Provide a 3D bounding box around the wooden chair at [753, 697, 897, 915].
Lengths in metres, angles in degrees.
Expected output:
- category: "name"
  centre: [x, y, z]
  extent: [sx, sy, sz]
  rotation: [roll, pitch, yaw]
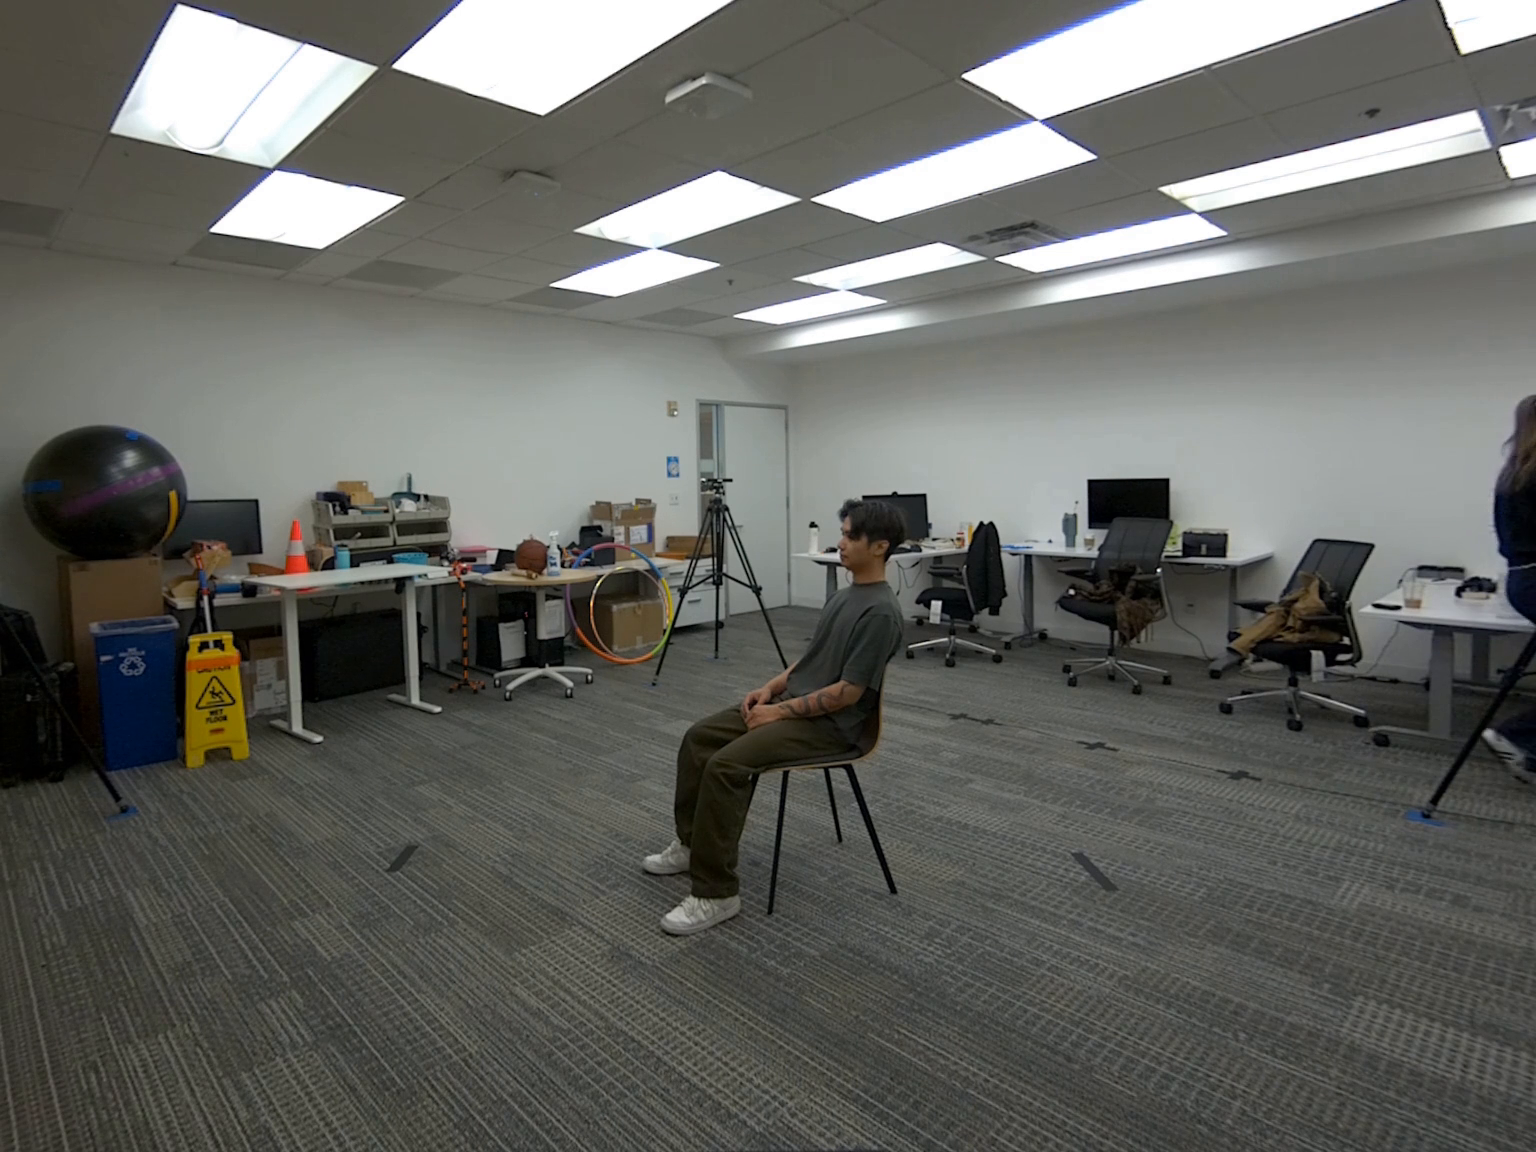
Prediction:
- category: "wooden chair"
  centre: [0.136, 0.623, 2.978]
  extent: [0.514, 0.875, 0.488]
  rotation: [2, 4, -18]
